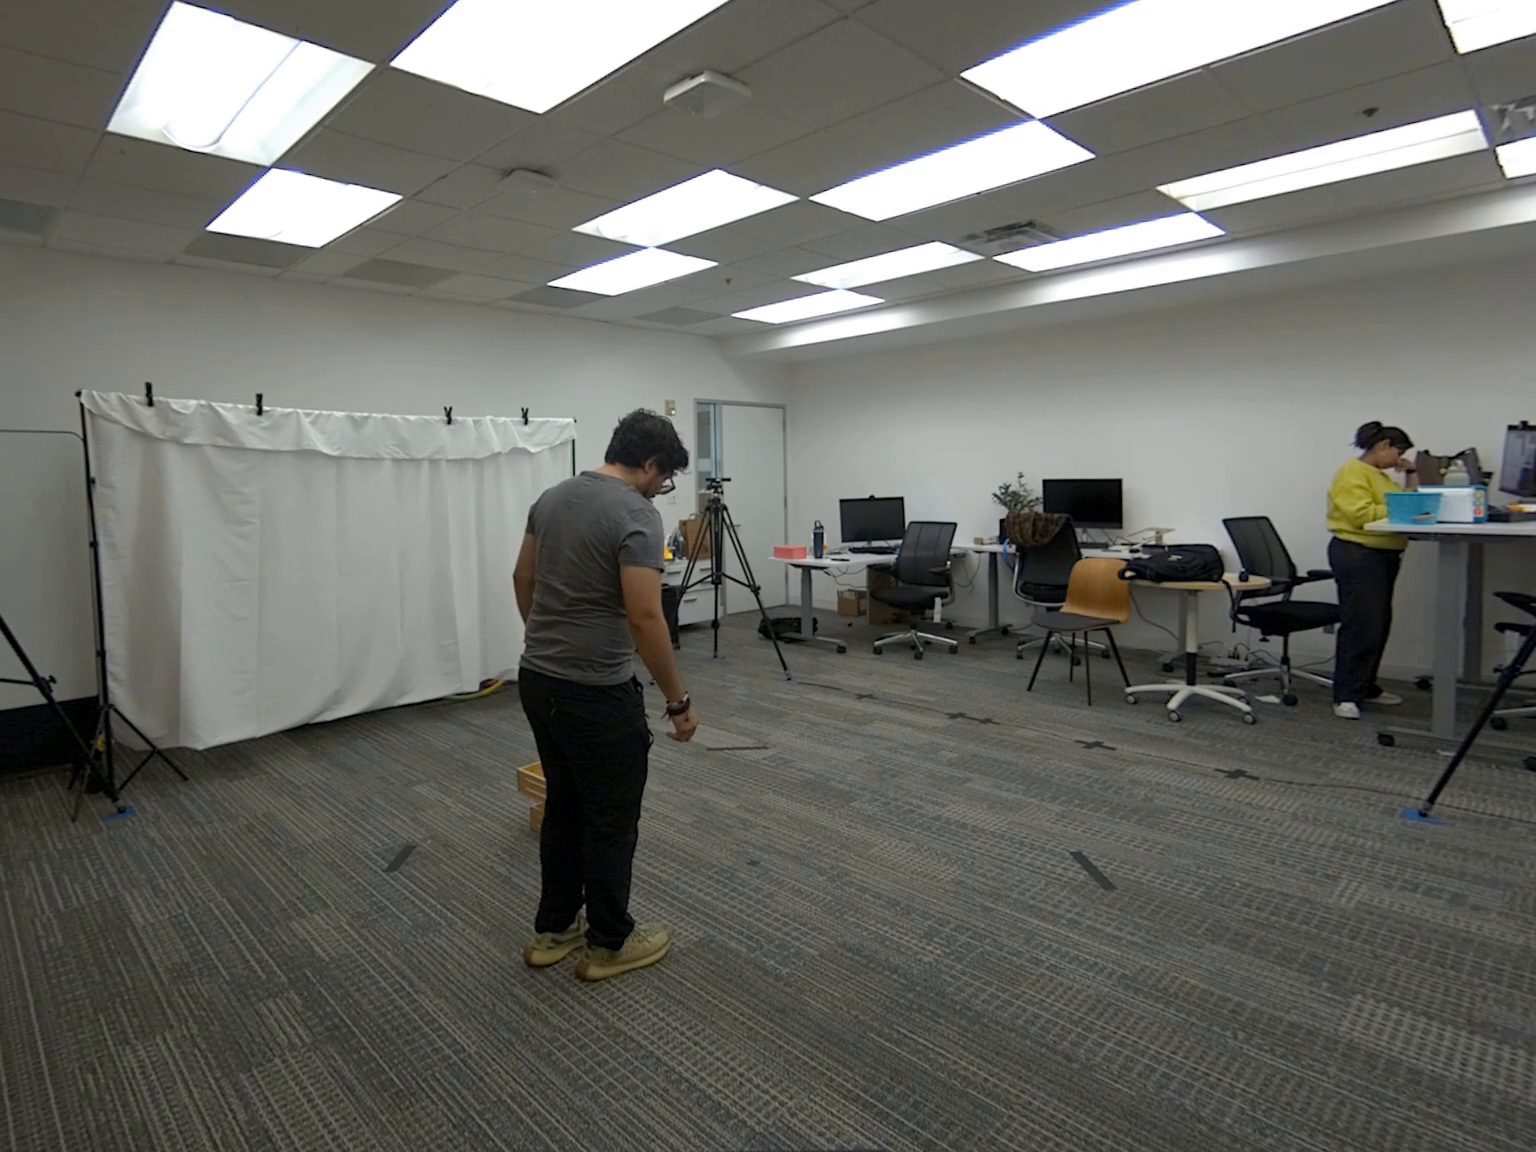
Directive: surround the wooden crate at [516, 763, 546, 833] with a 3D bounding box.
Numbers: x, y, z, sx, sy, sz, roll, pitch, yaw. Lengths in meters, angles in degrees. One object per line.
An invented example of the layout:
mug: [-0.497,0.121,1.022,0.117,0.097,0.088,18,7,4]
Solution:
wooden crate: [-0.782,0.889,3.410,0.334,0.272,0.294,4,8,44]
